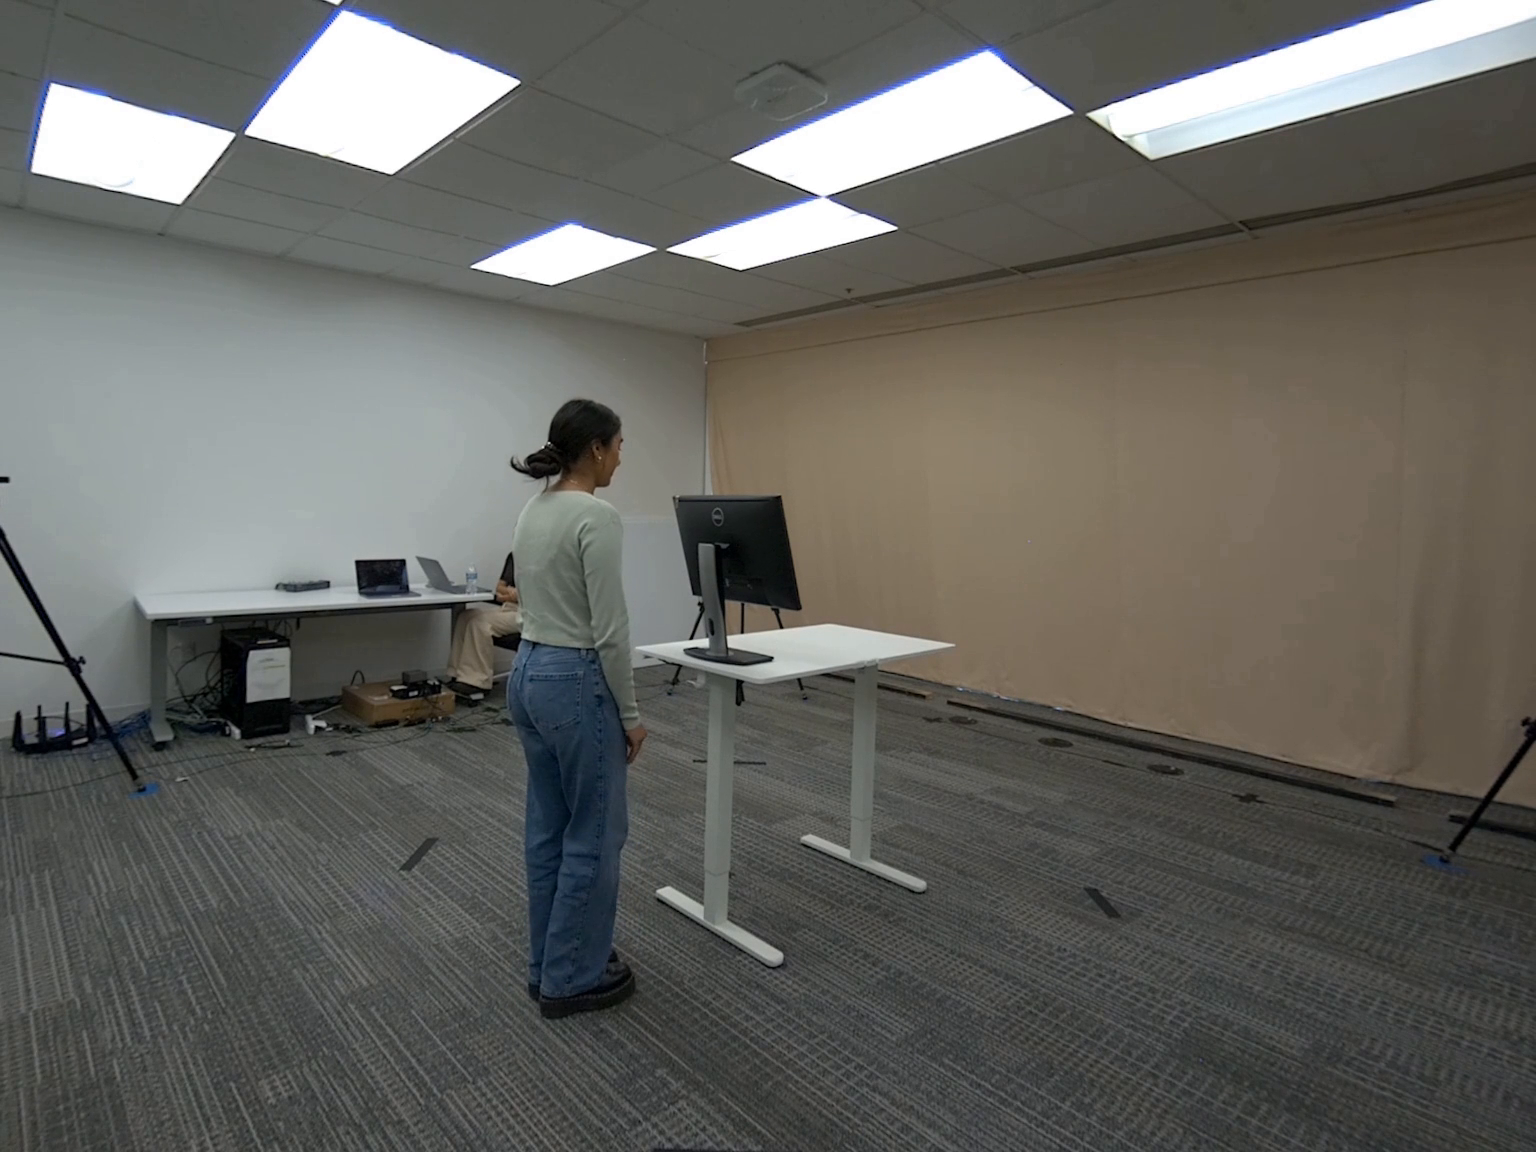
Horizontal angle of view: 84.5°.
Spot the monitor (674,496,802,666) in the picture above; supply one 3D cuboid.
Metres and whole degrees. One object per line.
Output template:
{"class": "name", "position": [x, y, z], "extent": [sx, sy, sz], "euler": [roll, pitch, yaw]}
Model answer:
{"class": "monitor", "position": [-0.135, 0.011, 2.635], "extent": [0.183, 0.521, 0.553], "euler": [-3, 5, -43]}
